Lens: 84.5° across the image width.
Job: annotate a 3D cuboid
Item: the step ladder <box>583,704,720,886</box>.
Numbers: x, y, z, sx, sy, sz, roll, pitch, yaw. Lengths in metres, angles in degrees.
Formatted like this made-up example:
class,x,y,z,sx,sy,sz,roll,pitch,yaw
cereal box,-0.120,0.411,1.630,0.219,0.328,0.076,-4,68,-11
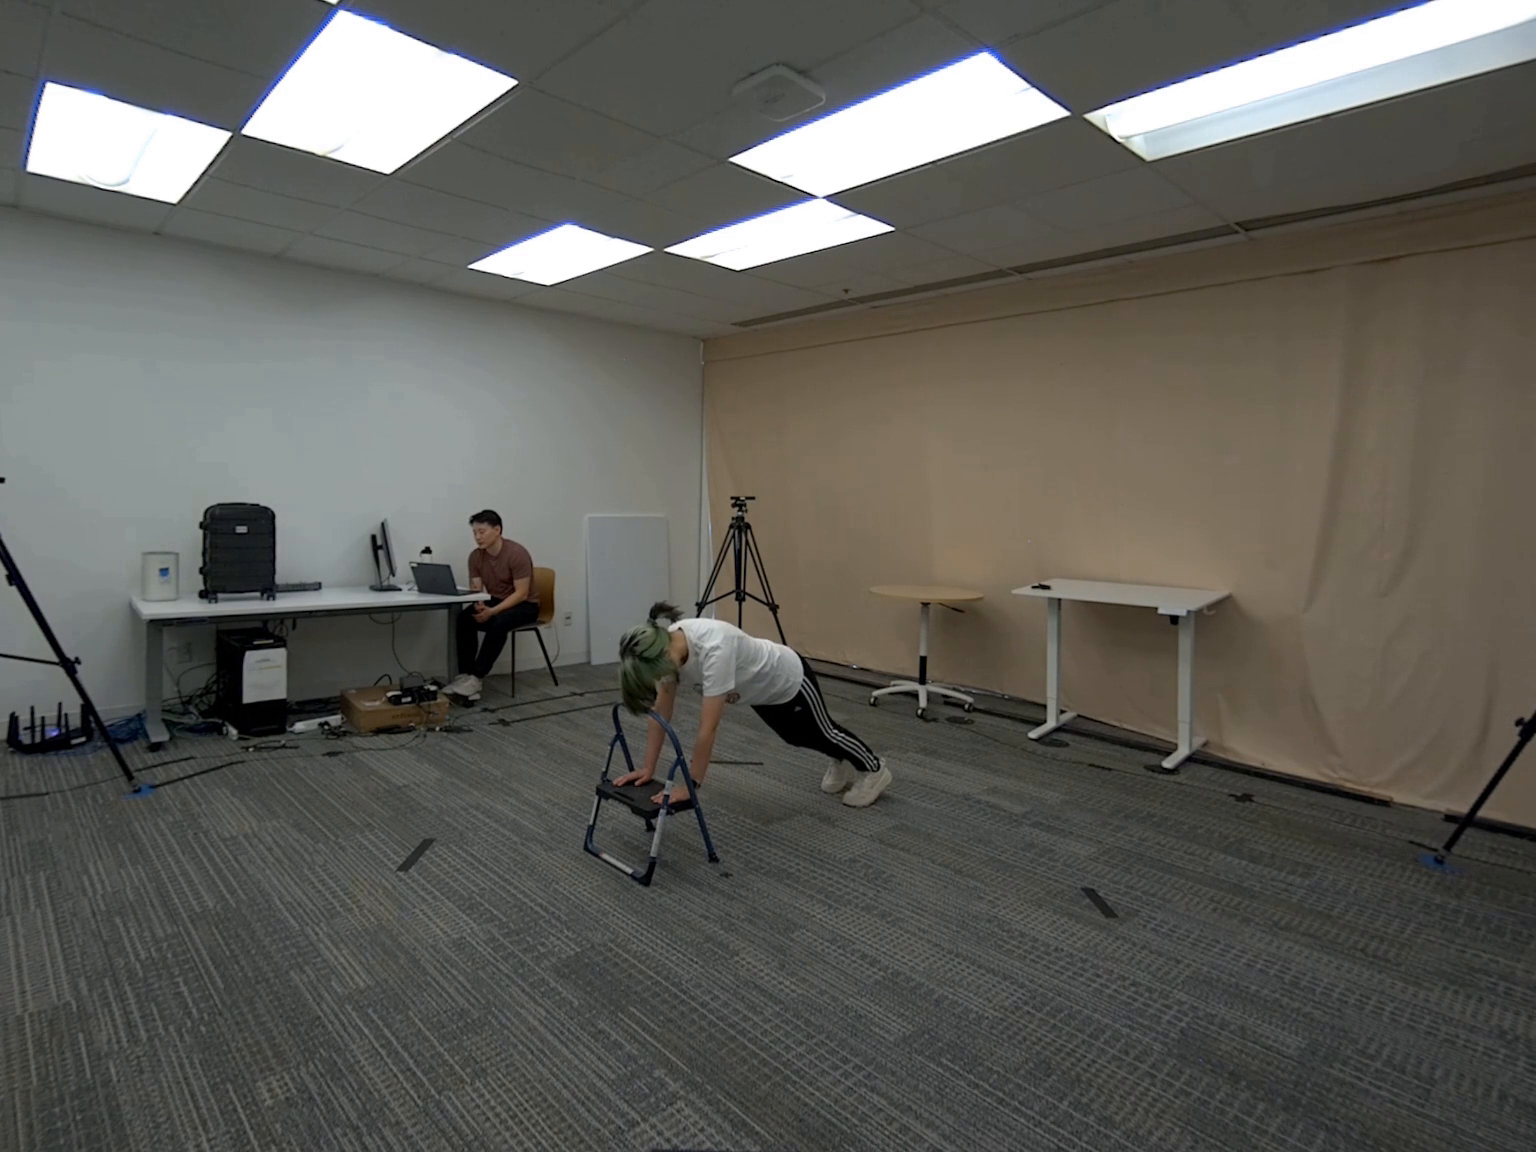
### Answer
class,x,y,z,sx,sy,sz,roll,pitch,yaw
step ladder,-0.457,0.782,3.242,0.341,0.605,0.441,-2,4,-44
